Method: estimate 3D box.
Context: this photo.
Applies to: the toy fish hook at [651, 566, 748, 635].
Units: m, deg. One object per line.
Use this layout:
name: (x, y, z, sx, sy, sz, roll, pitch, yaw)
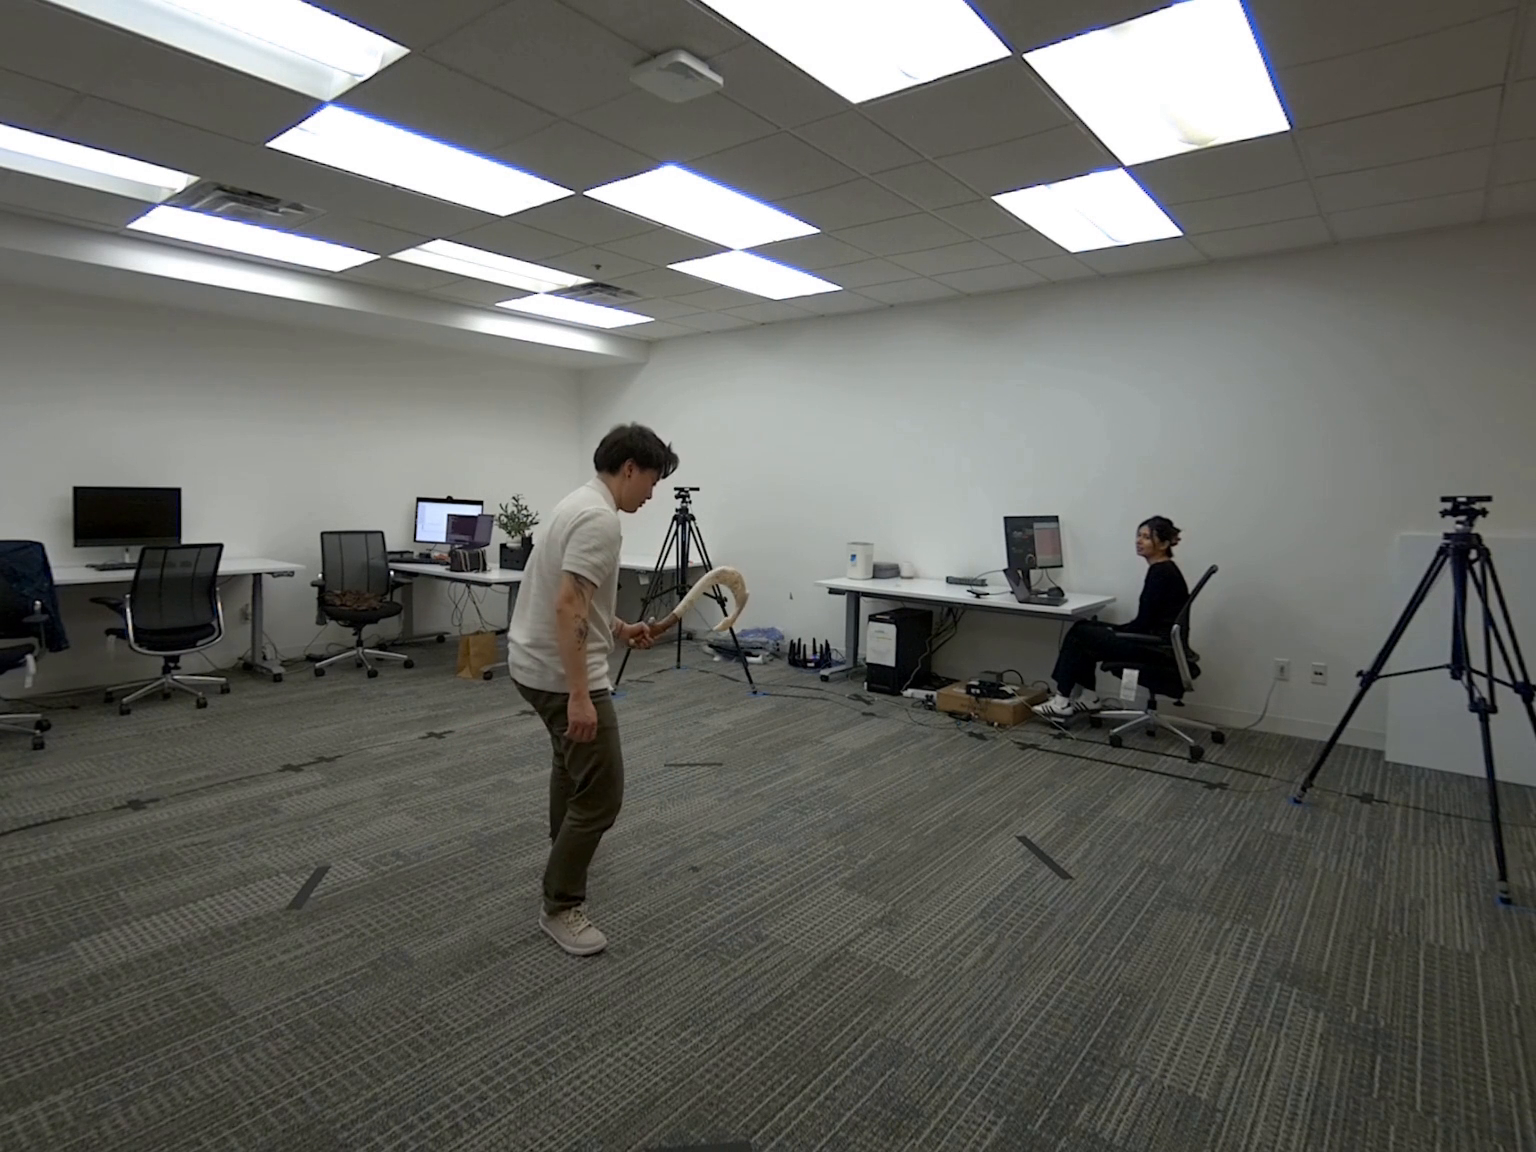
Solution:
toy fish hook: (-0.282, 0.157, 3.021, 0.503, 0.220, 0.049, -36, 17, -25)
